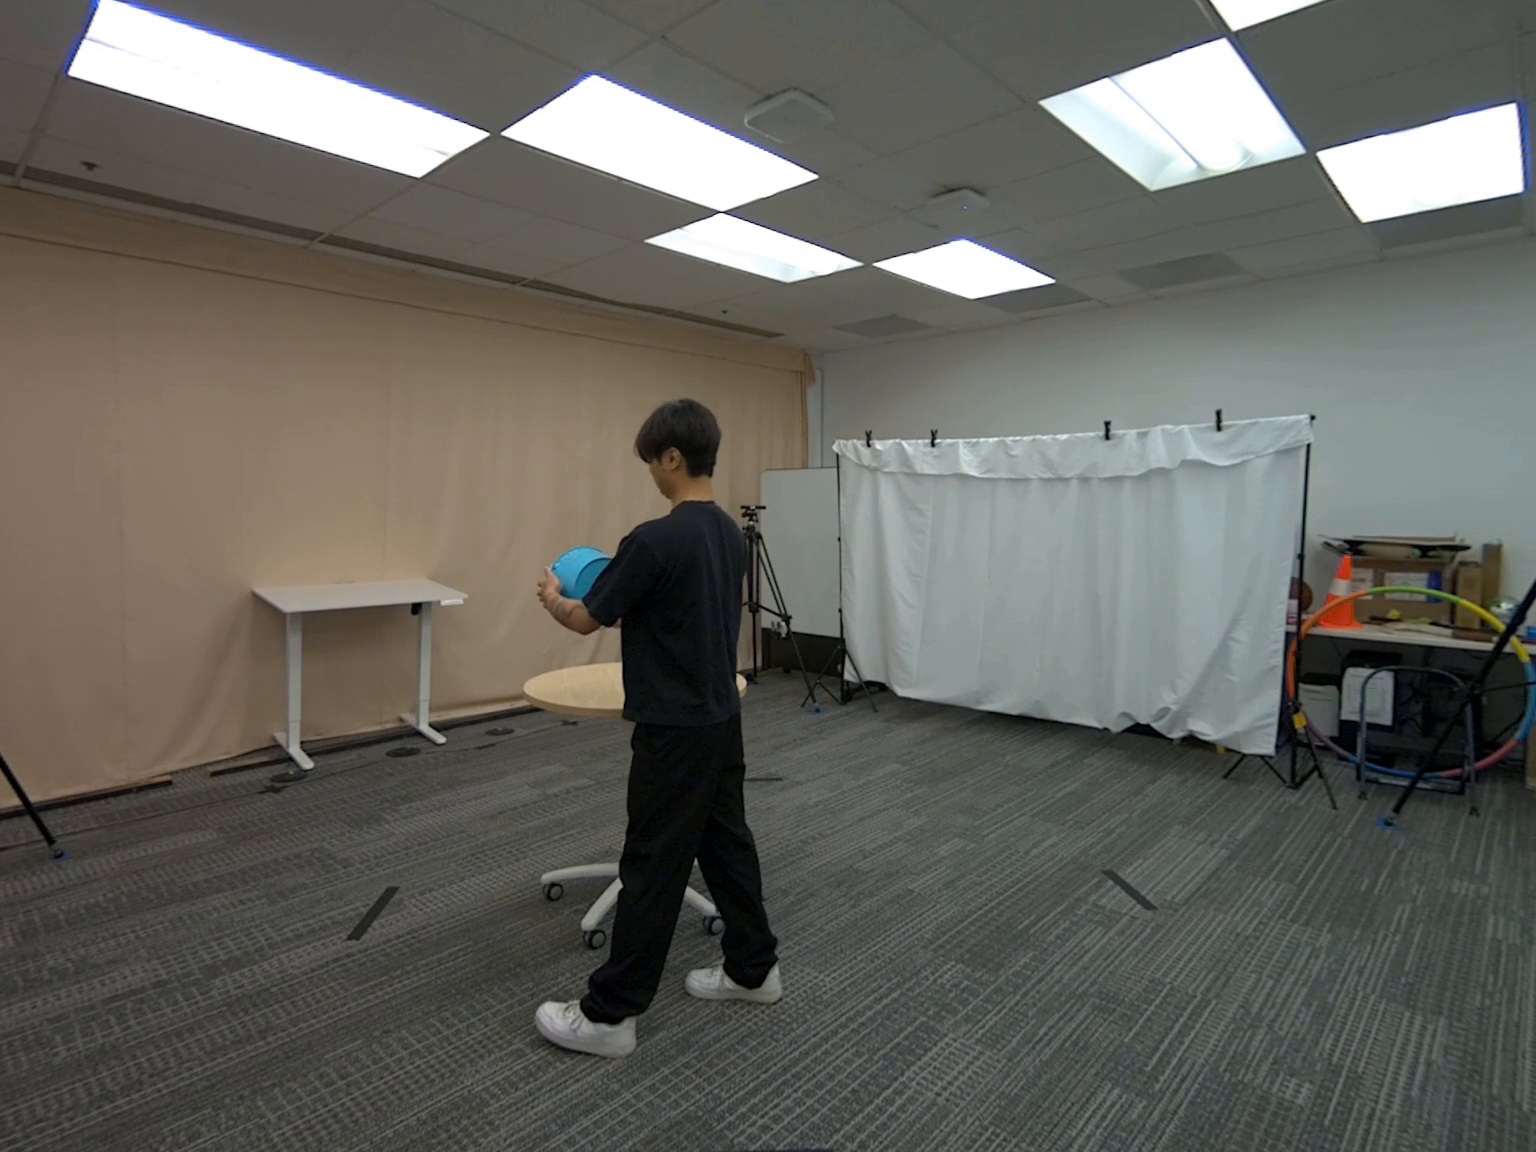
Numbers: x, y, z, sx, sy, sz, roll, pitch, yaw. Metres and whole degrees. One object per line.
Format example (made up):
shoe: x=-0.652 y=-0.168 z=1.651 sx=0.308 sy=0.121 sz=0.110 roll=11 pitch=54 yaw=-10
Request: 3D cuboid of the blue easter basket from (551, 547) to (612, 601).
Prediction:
blue easter basket: x=-0.510 y=0.040 z=2.471 sx=0.237 sy=0.243 sz=0.161 roll=-2 pitch=4 yaw=-33
